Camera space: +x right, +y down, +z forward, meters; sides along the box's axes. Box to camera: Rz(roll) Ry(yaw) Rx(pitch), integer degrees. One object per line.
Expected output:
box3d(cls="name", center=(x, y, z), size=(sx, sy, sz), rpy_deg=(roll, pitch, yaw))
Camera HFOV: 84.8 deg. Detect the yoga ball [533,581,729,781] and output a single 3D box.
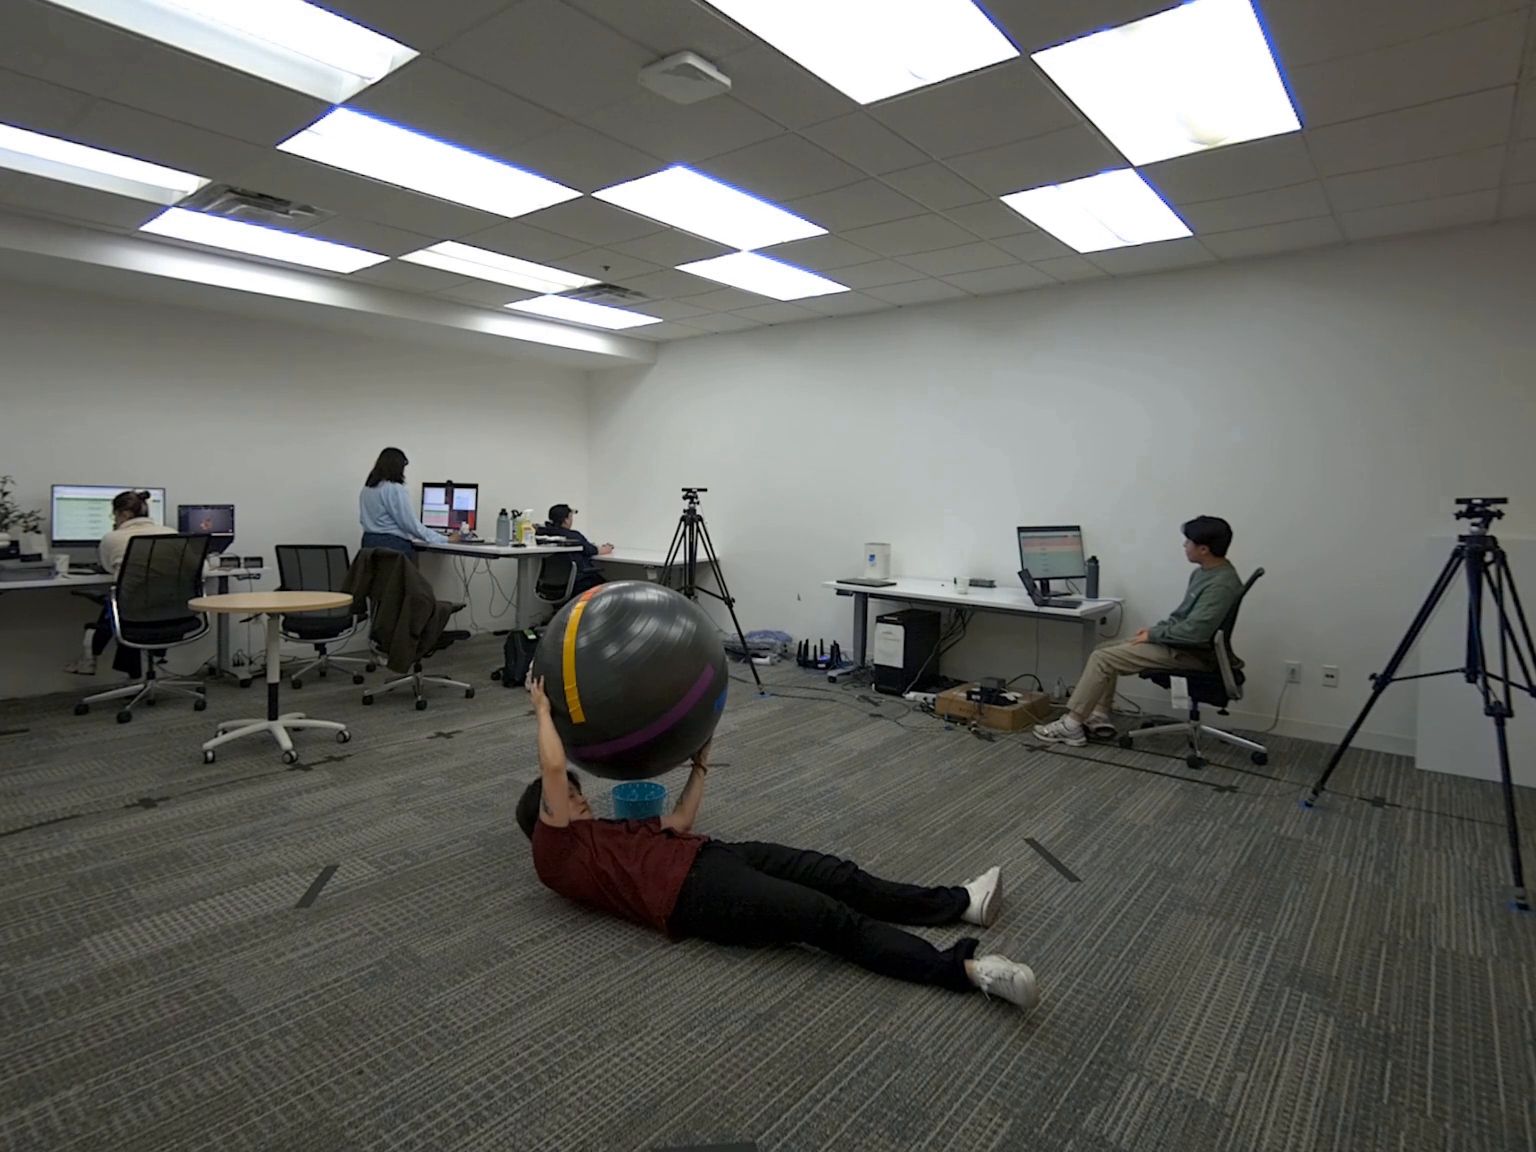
box3d(cls="yoga ball", center=(-0.539, 0.393, 3.280), size=(0.757, 0.755, 0.762), rpy_deg=(1, 4, -2))
